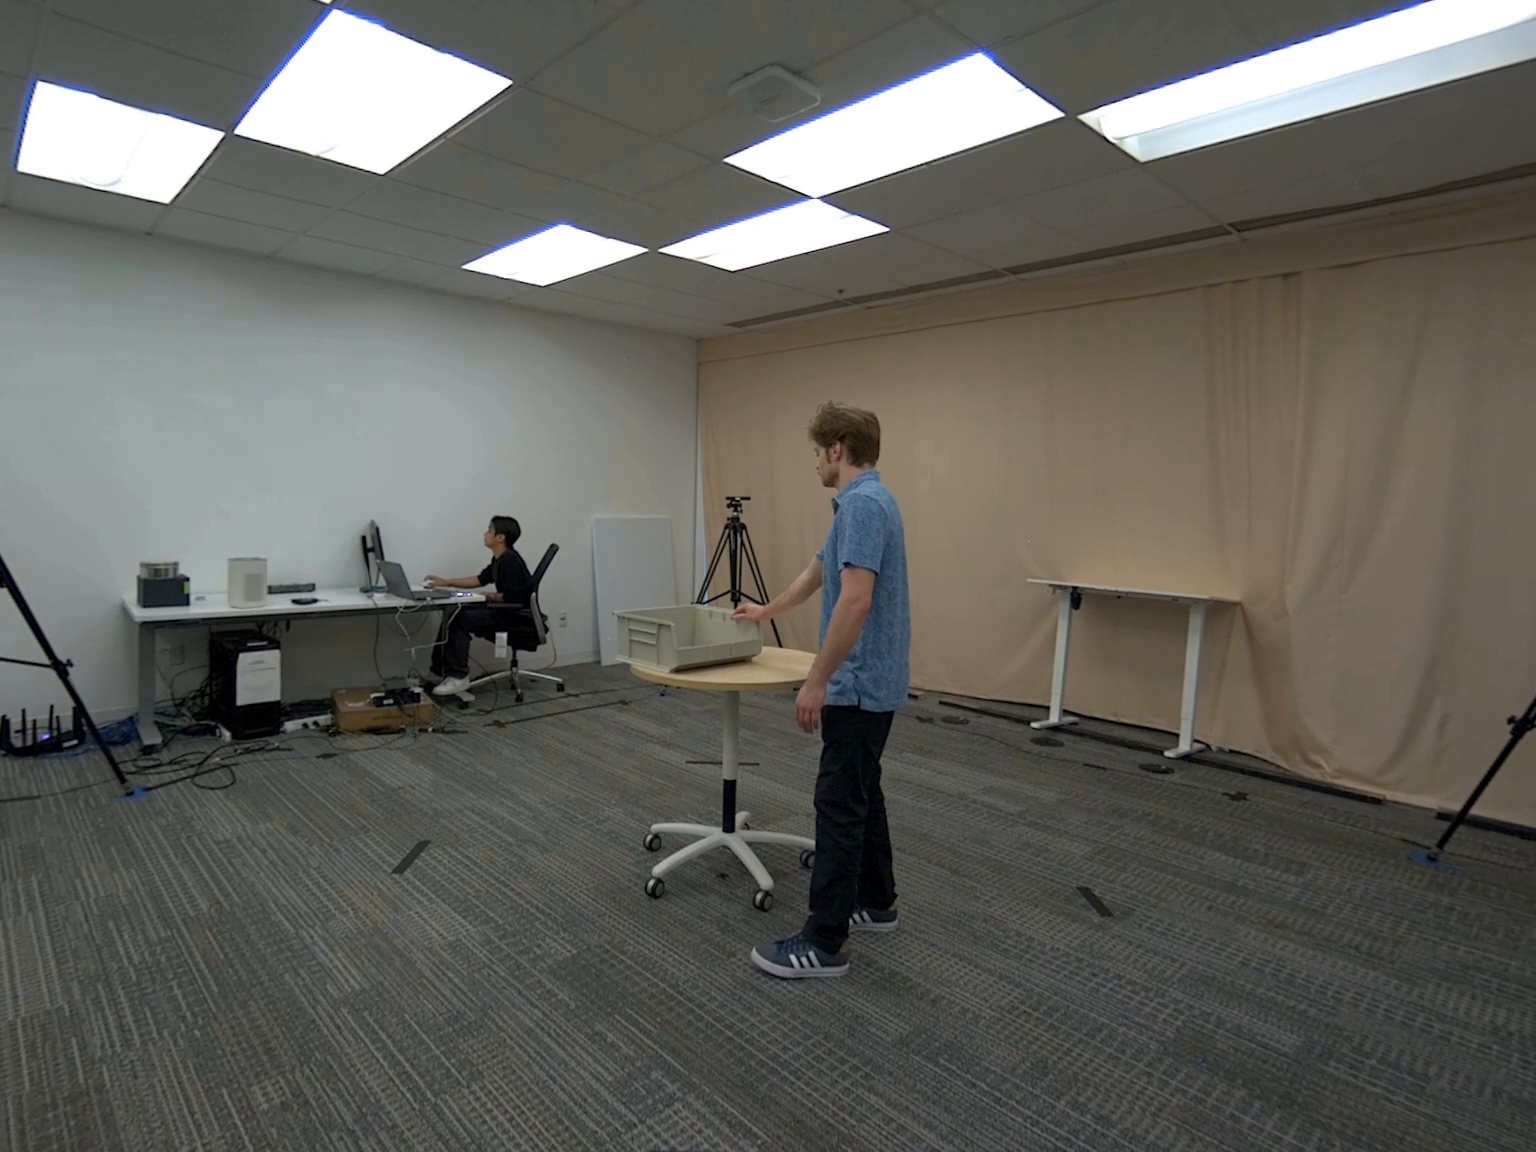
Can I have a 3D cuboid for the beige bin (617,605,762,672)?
[{"bbox_3d":[-0.302,0.230,3.119,0.387,0.188,0.413,5,6,45],"label":"beige bin"}]
